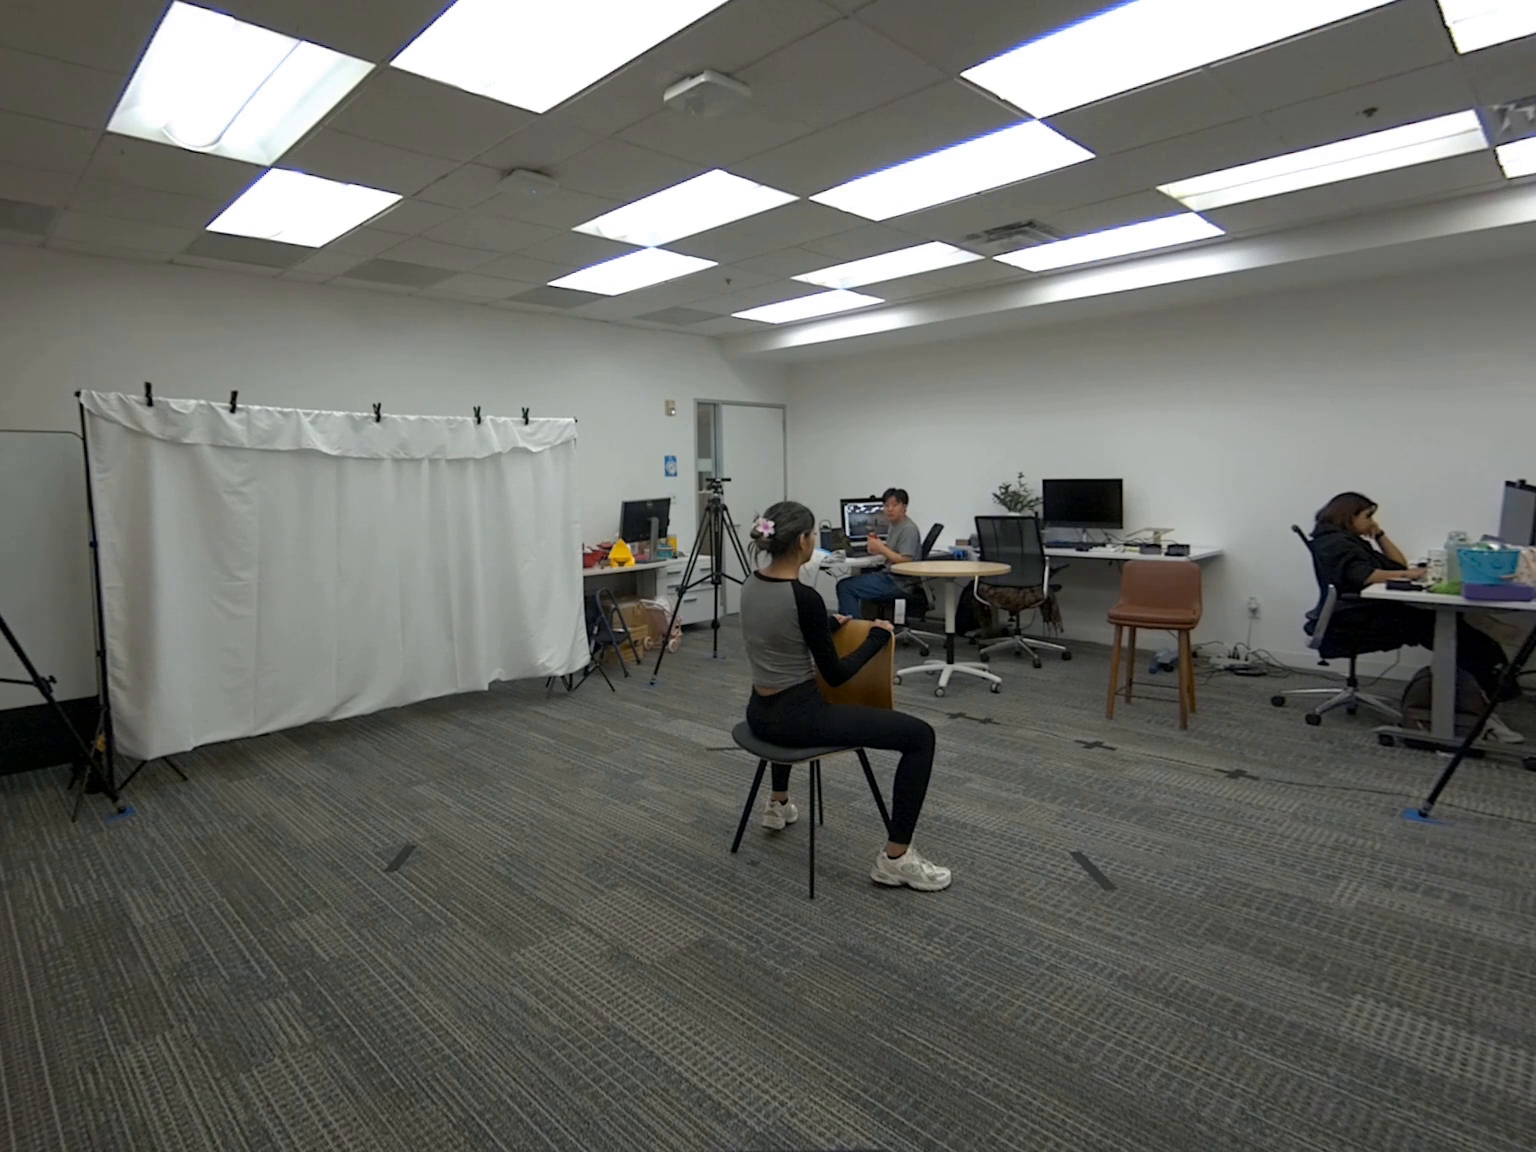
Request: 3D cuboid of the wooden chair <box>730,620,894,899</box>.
[{"bbox_3d":[0.167,0.613,3.100,0.508,0.877,0.492,2,1,-37],"label":"wooden chair"}]
